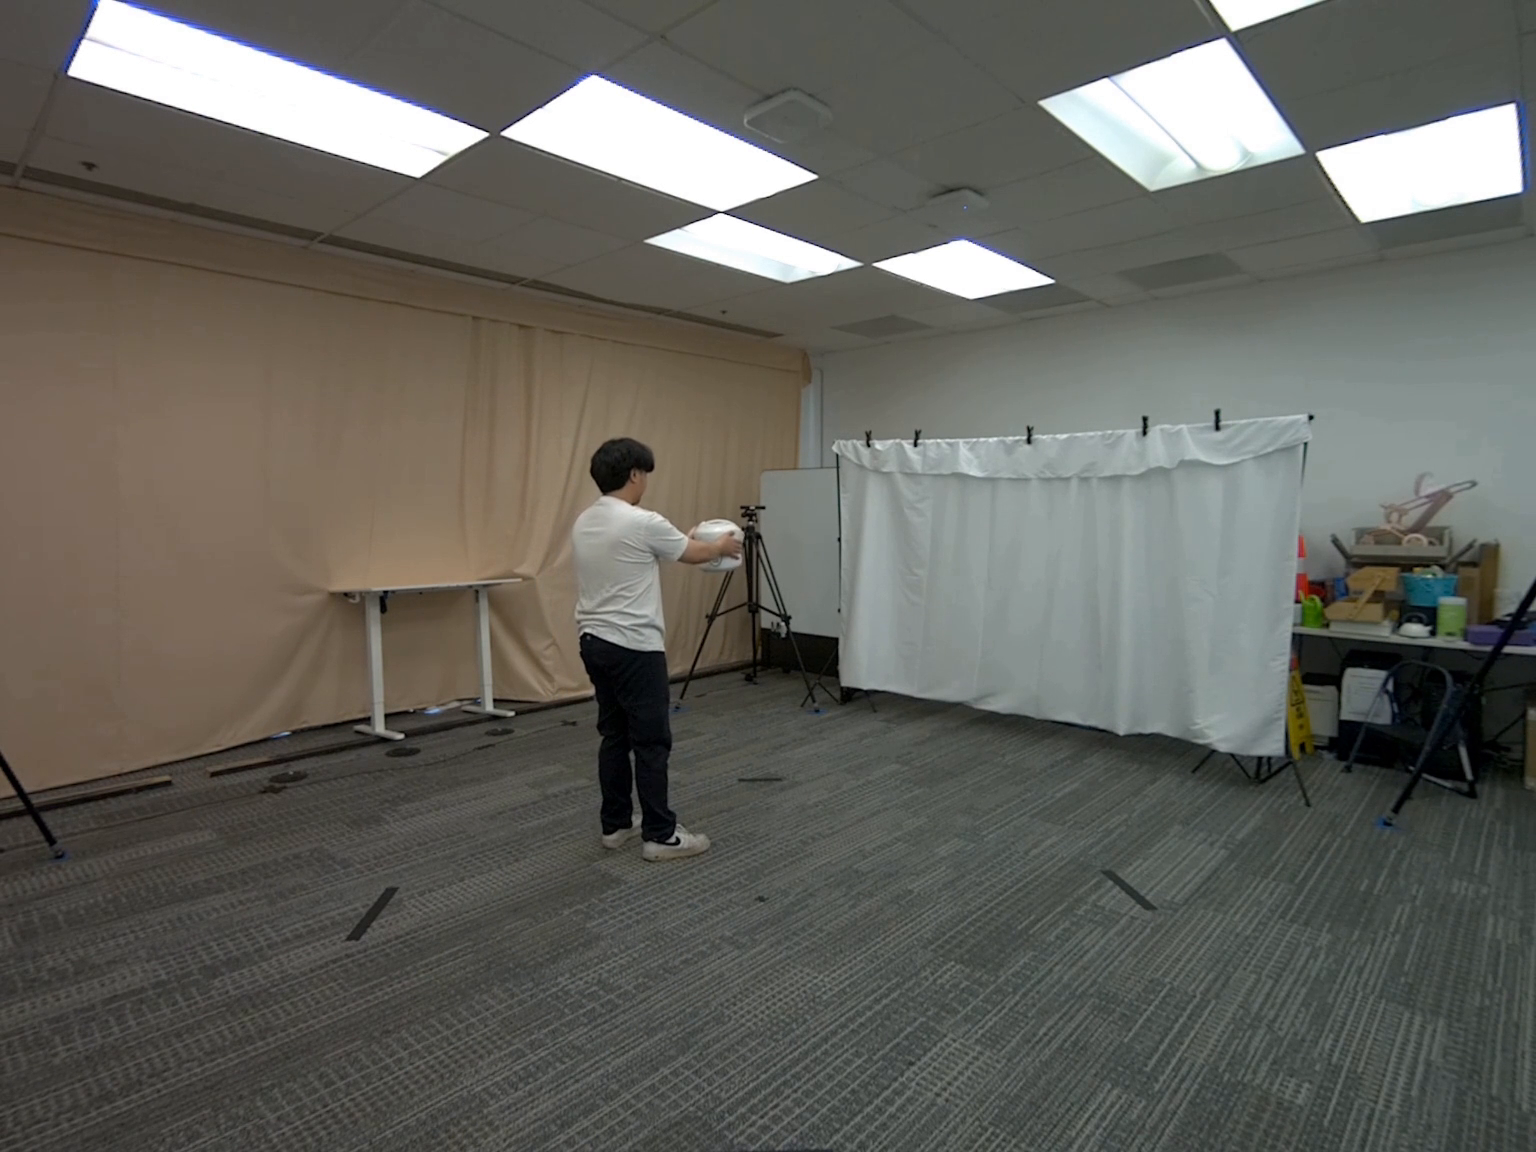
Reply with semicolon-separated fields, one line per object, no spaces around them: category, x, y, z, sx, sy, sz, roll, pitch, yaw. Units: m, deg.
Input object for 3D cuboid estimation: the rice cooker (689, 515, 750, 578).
rice cooker;-0.218;-0.139;3.855;0.222;0.231;0.217;-6;8;7
